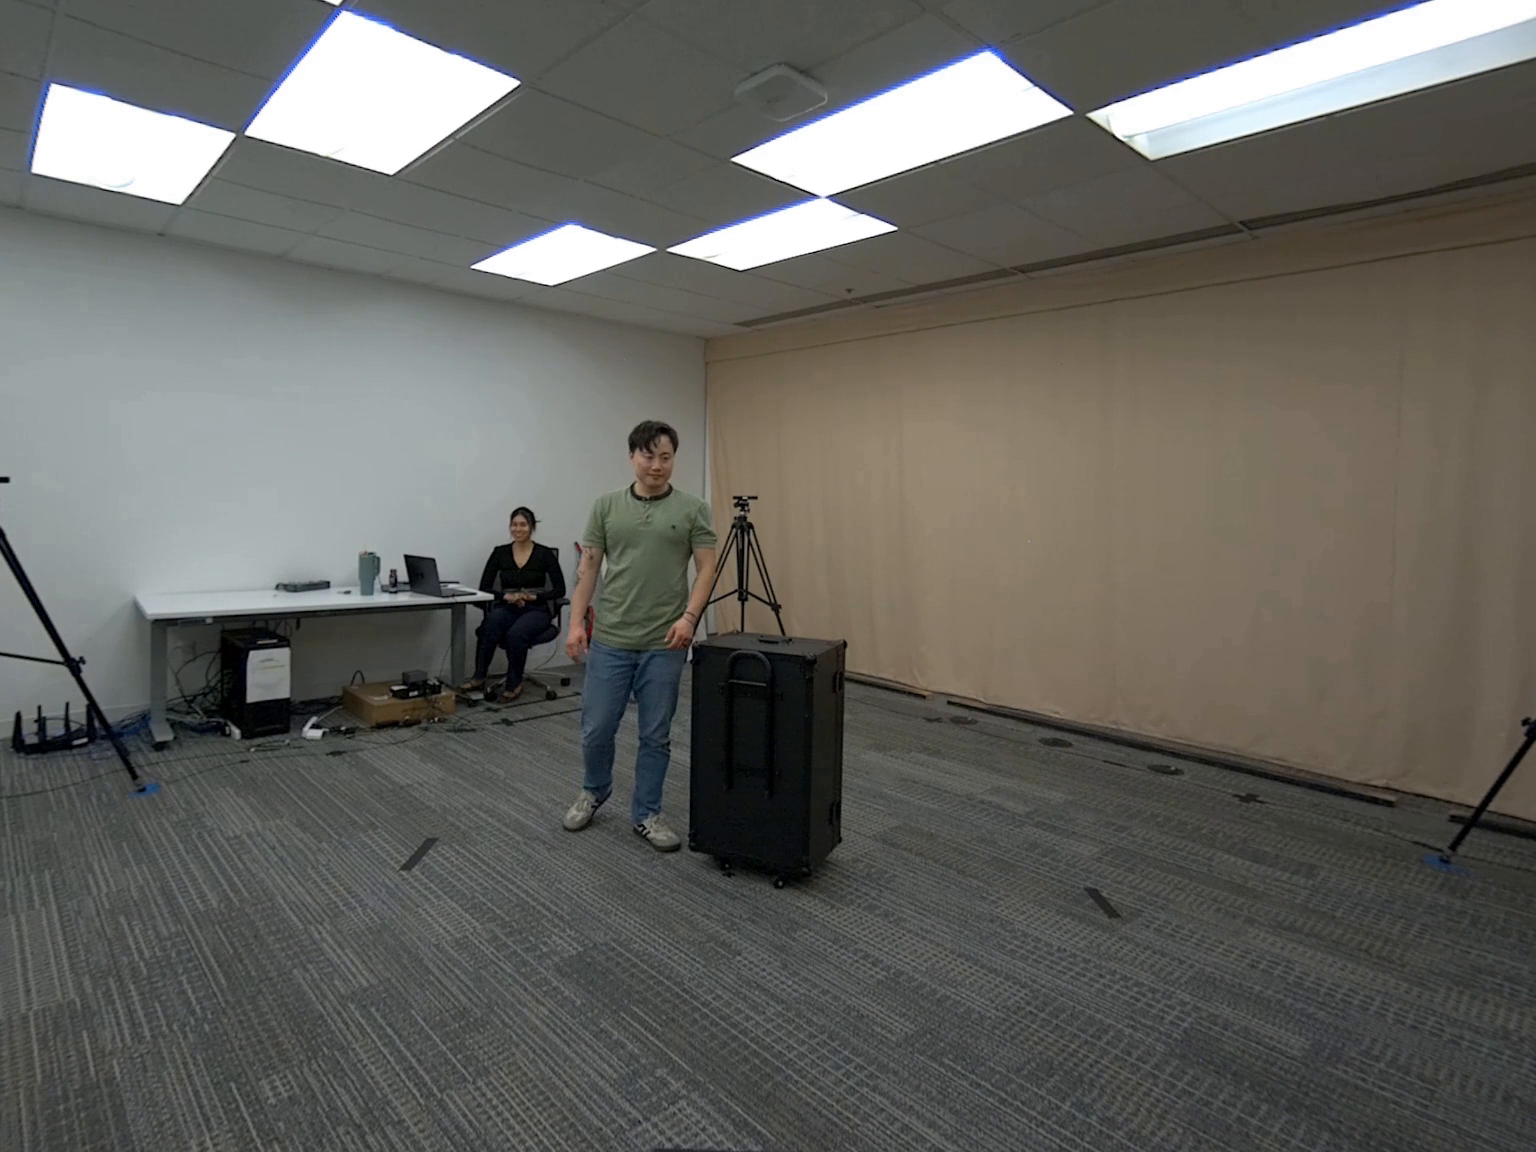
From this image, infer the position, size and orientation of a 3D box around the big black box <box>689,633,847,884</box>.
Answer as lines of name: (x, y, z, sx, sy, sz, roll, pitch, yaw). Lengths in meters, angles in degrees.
big black box: (-0.002, 0.677, 3.159, 0.531, 0.859, 0.390, 2, 4, 25)
